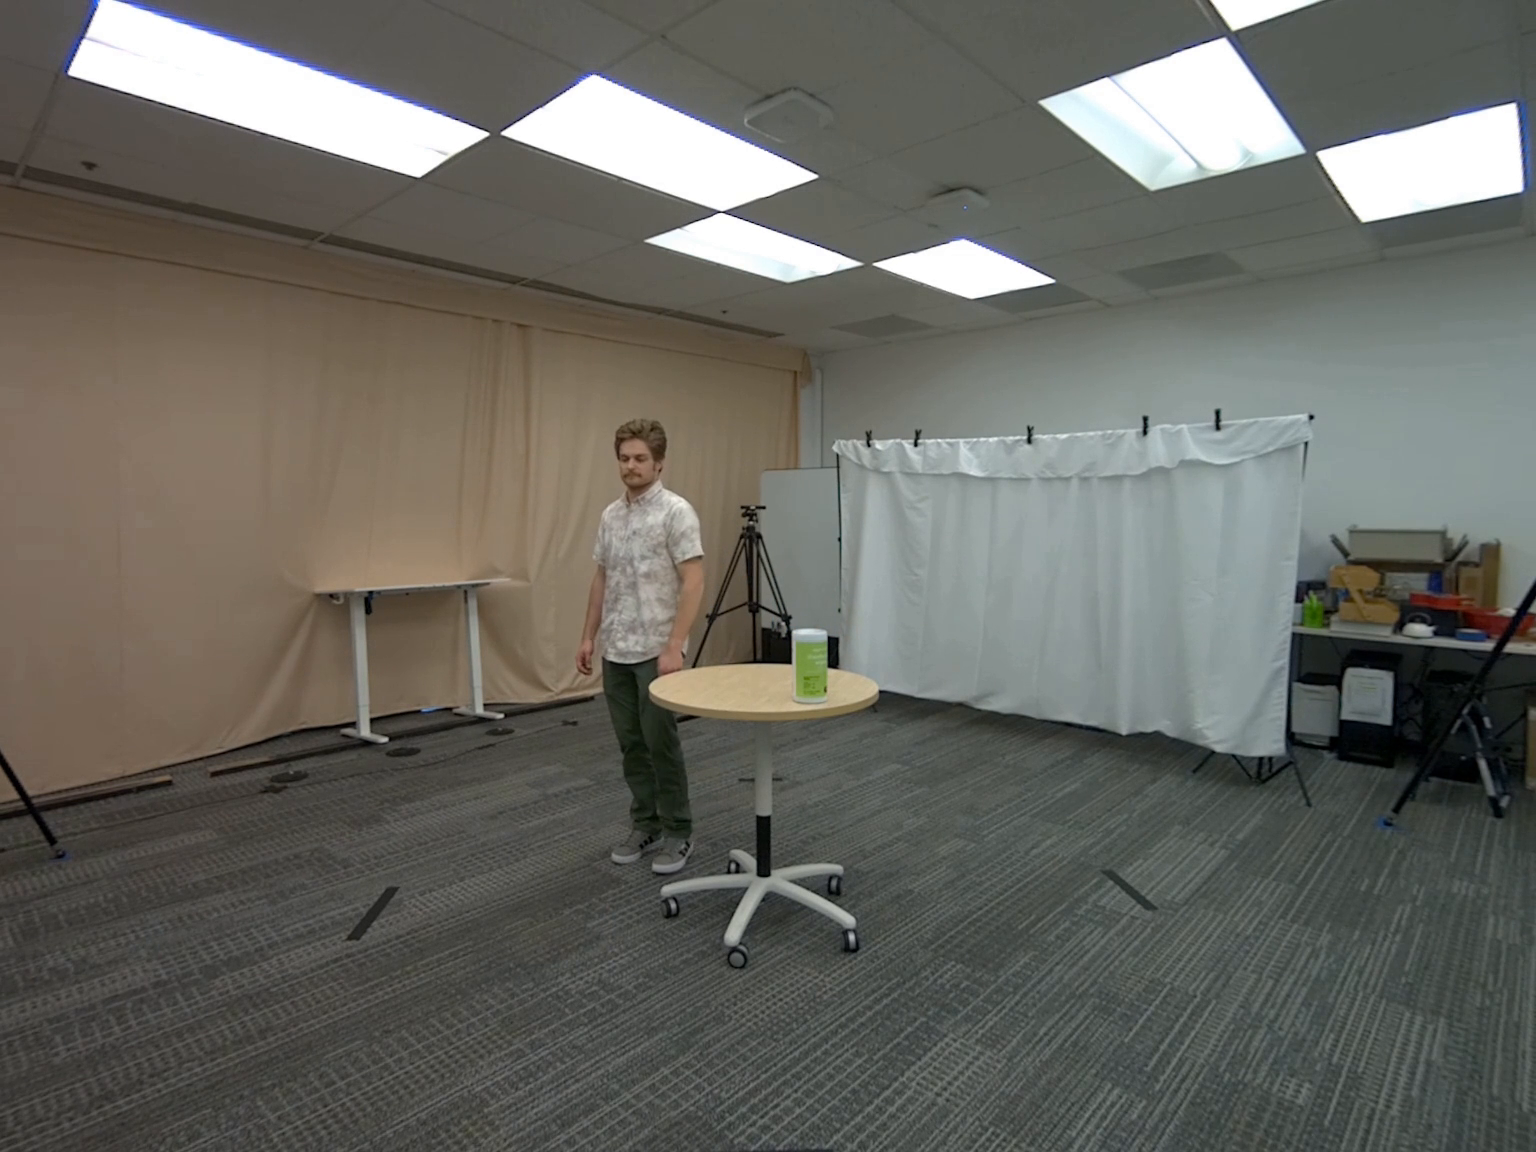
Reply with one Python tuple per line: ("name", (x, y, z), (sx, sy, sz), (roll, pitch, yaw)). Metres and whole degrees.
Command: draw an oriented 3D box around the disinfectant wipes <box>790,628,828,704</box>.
("disinfectant wipes", (0.129, 0.275, 2.585), (0.118, 0.217, 0.118), (2, 2, -2))
